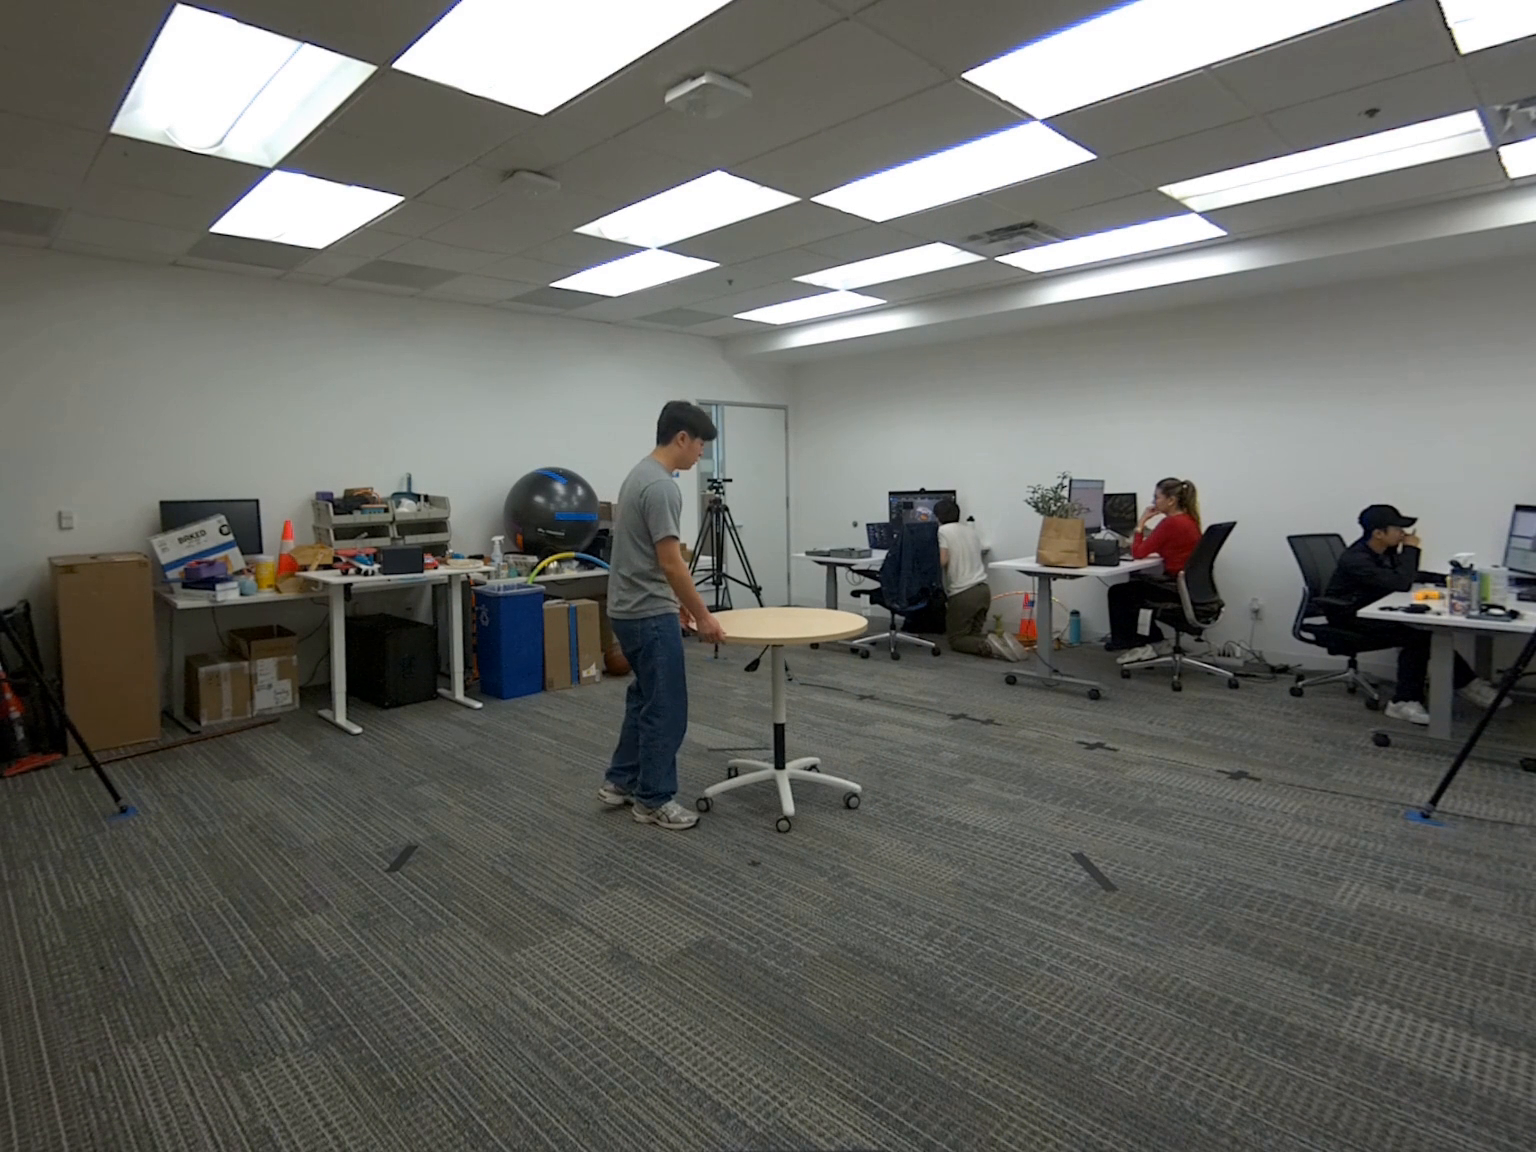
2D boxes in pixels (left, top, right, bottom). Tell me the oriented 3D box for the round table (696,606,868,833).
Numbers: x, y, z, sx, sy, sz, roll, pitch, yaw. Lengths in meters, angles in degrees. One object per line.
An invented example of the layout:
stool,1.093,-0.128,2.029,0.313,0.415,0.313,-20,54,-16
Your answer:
round table,0.041,0.587,3.698,0.763,0.791,0.768,-1,5,-2
